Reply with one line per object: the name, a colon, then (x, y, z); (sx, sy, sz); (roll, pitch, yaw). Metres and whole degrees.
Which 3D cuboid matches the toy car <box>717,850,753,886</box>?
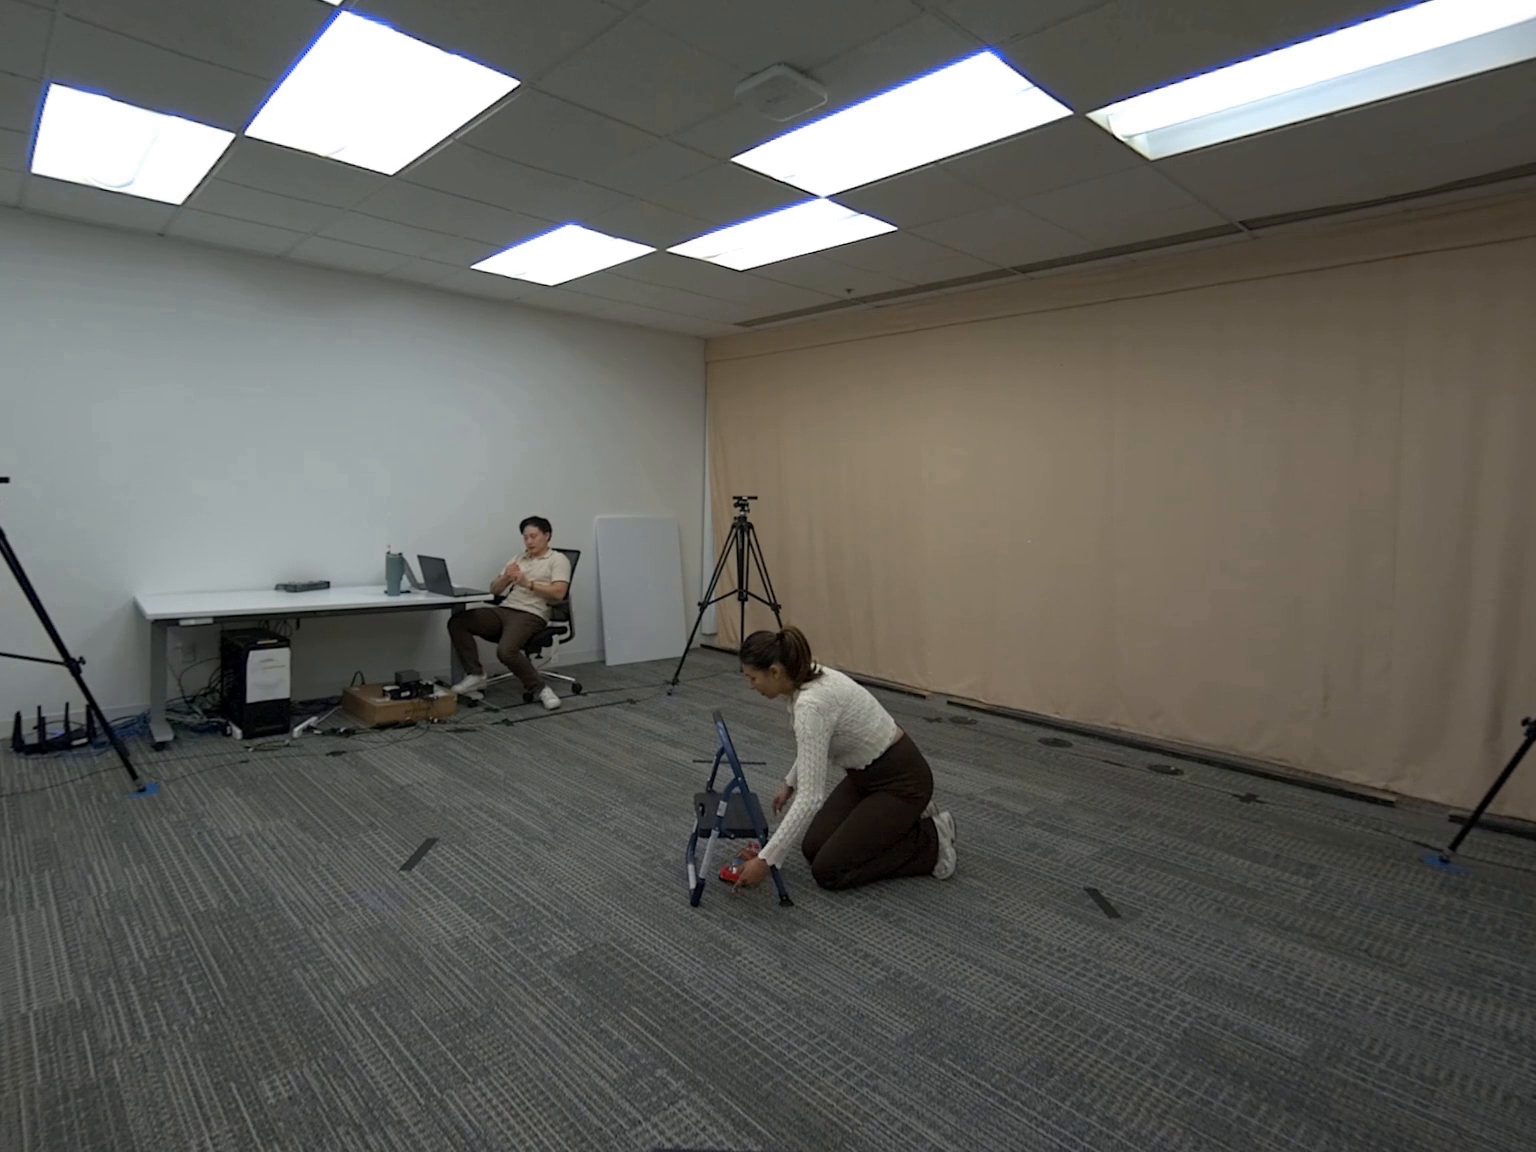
toy car: (-0.085, 1.070, 3.085); (0.133, 0.082, 0.252); (3, 14, 24)
